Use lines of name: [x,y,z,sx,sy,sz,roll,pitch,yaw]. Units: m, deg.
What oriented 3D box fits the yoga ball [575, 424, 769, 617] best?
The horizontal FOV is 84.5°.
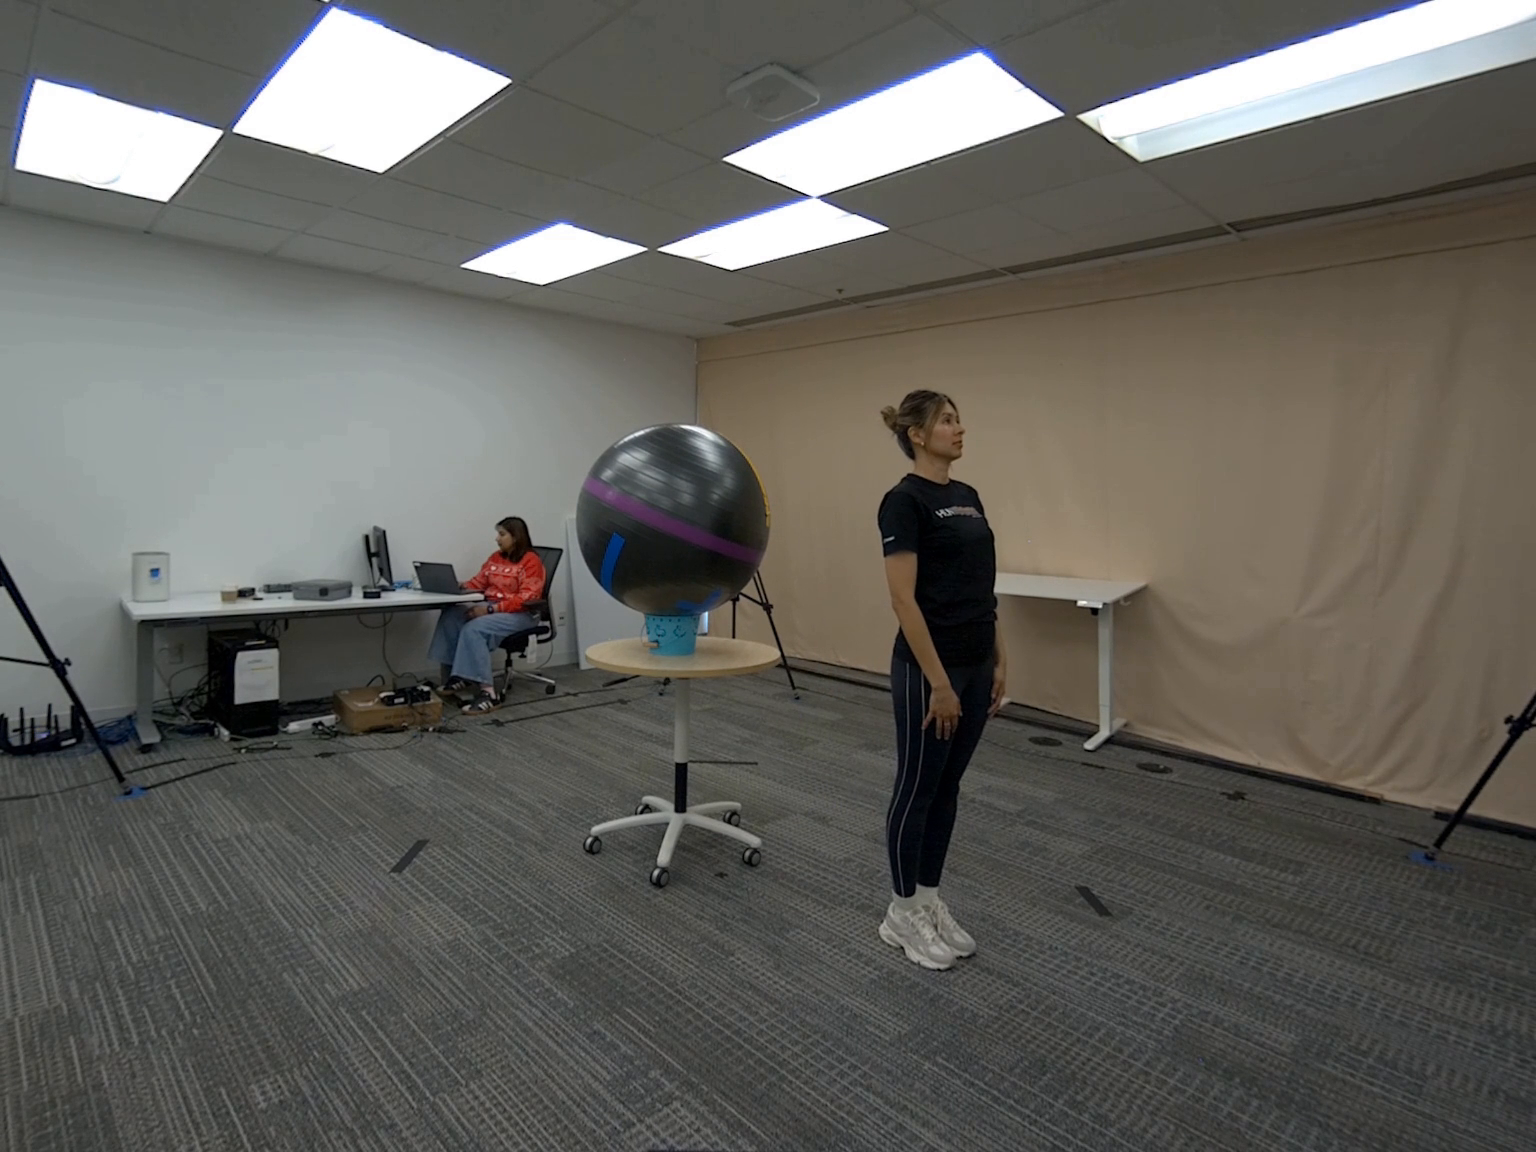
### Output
yoga ball: [-0.378,-0.212,3.300,0.757,0.756,0.761,1,4,-1]
